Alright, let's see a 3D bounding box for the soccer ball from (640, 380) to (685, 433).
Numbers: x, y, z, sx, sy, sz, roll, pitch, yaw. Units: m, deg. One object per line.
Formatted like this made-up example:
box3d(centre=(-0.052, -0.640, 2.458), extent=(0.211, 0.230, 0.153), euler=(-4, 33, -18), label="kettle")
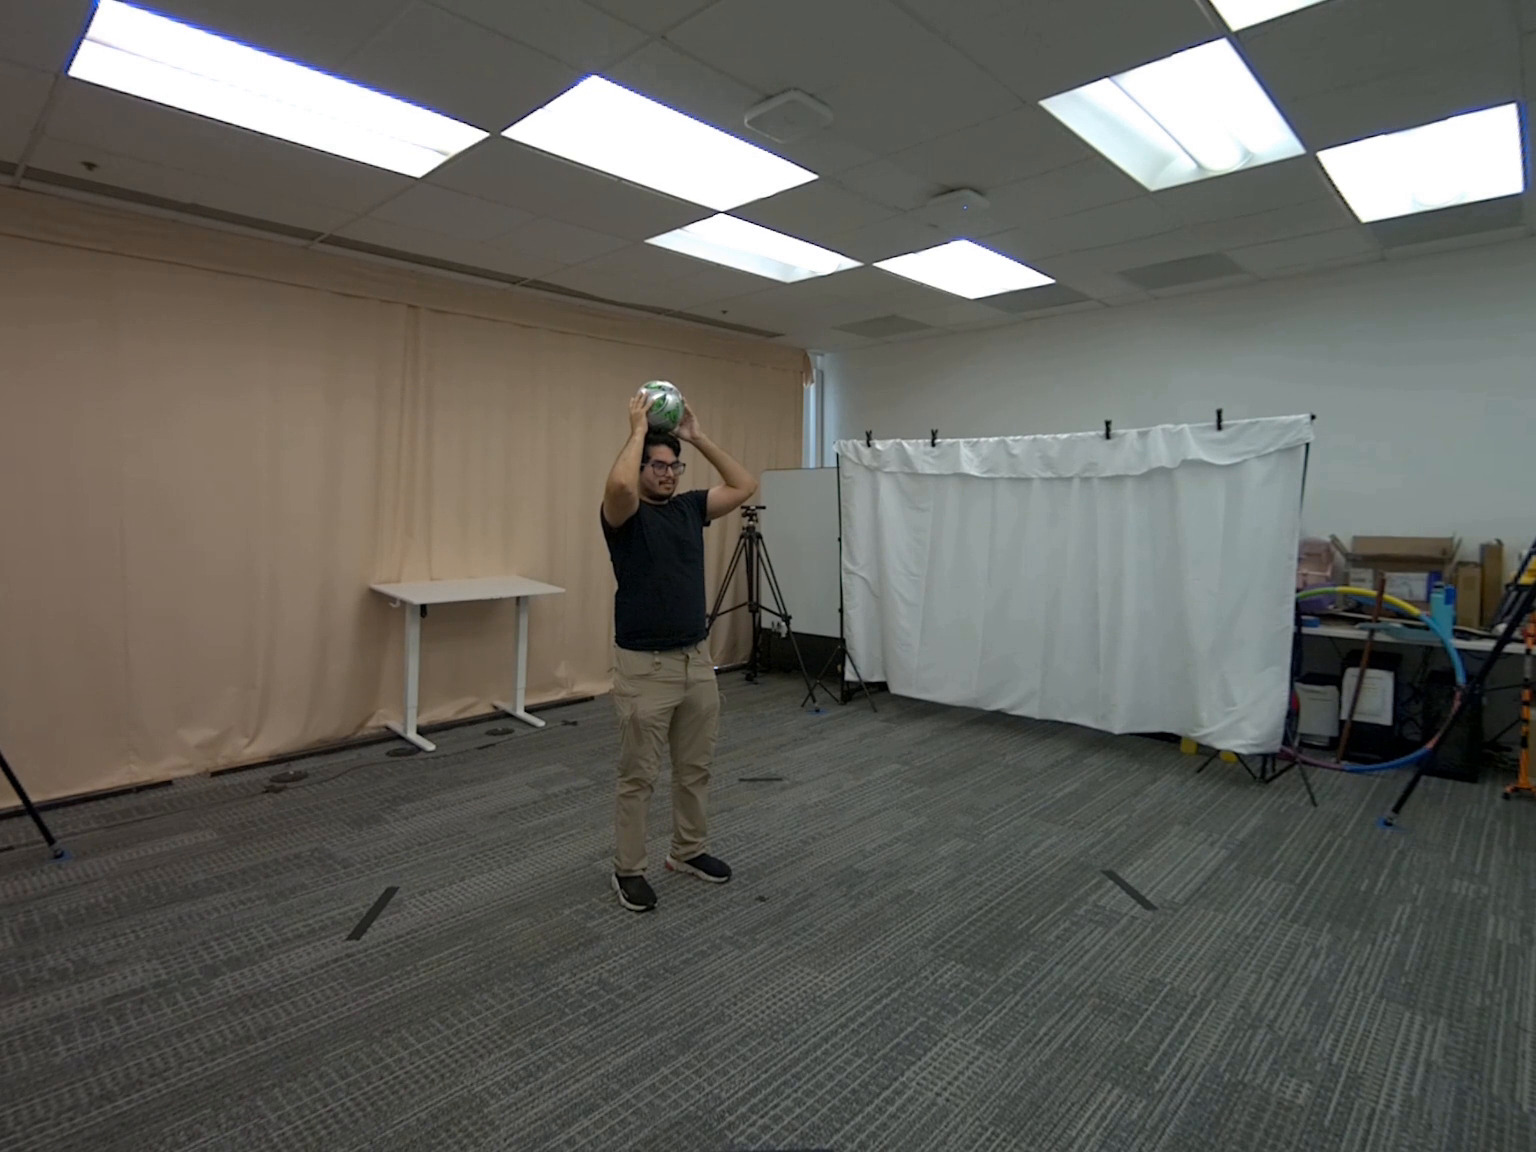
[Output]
box3d(centre=(-0.389, -0.593, 2.963), extent=(0.187, 0.187, 0.188), euler=(0, 4, -2), label="soccer ball")
